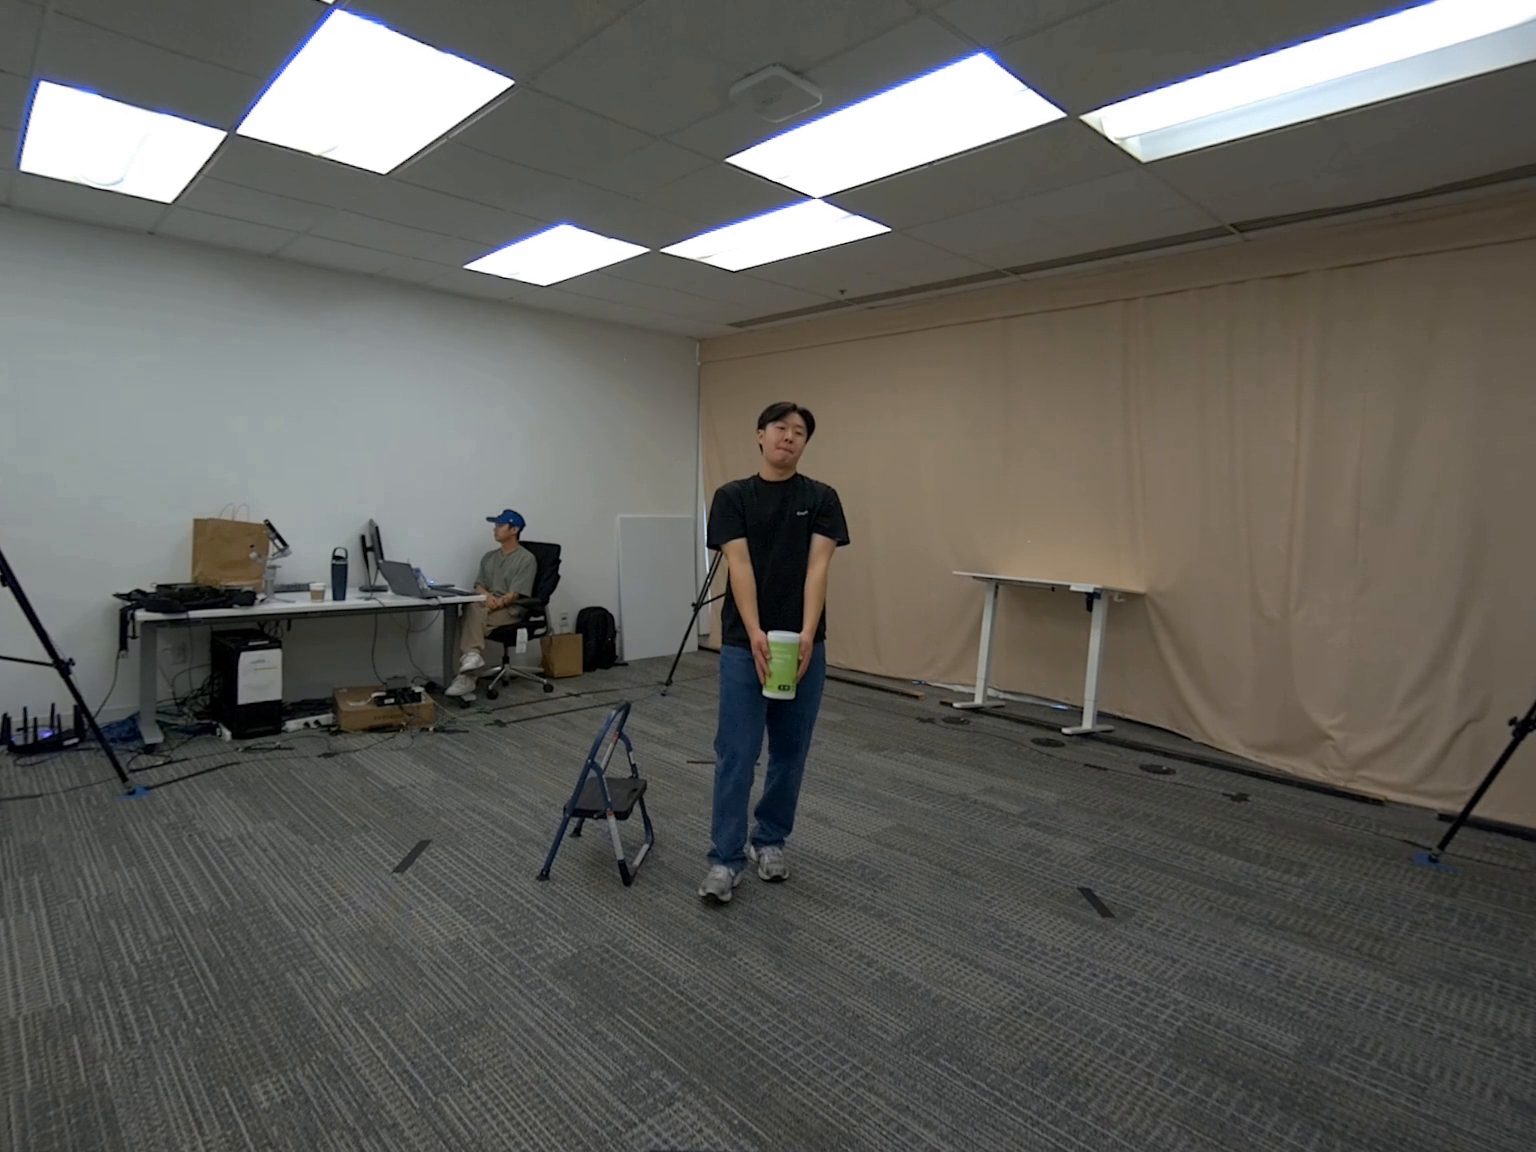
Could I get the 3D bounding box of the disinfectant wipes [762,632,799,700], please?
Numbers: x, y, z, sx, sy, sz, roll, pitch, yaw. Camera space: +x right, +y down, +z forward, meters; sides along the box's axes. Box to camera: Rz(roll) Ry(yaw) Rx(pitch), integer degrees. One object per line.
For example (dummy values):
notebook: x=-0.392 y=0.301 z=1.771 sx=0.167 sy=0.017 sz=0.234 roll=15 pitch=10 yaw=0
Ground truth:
disinfectant wipes: x=0.037 y=0.306 z=2.800 sx=0.118 sy=0.217 sz=0.118 roll=5 pitch=1 yaw=-1
